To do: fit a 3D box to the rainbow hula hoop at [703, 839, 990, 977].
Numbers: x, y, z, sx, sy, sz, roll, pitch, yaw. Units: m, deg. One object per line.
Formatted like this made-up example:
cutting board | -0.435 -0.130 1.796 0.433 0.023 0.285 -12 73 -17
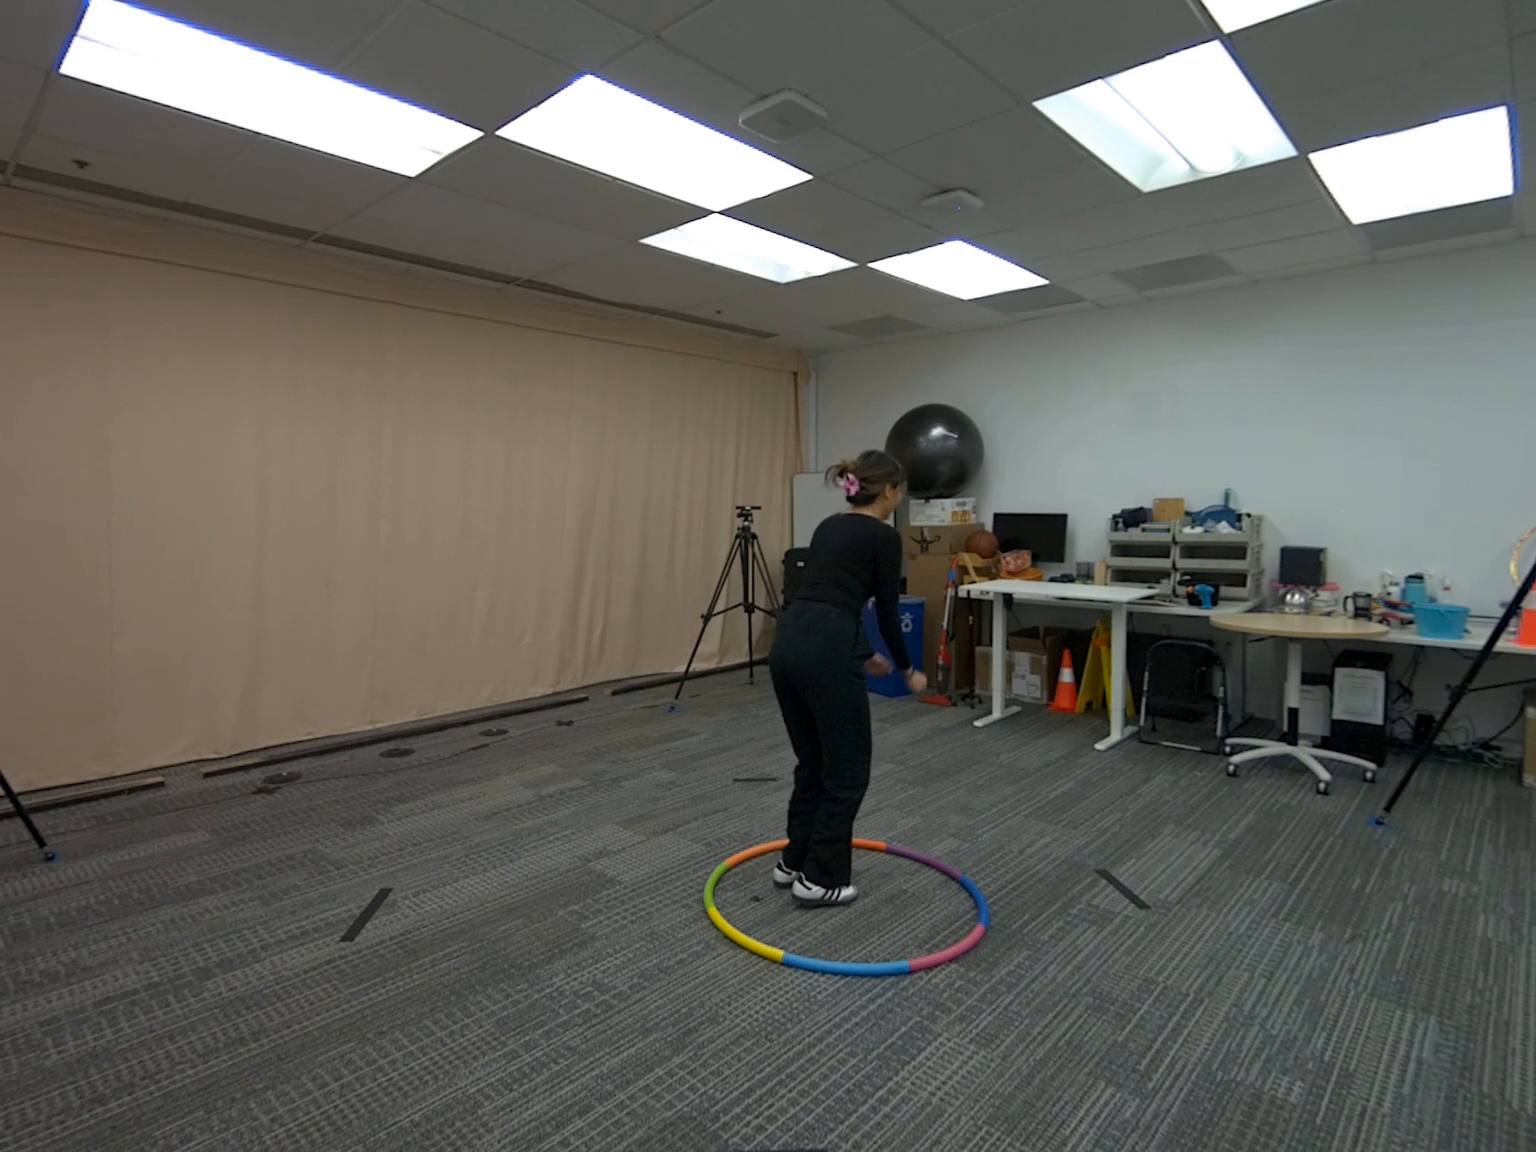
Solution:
rainbow hula hoop | 0.264 1.116 2.972 0.978 0.035 0.982 0 5 -2
